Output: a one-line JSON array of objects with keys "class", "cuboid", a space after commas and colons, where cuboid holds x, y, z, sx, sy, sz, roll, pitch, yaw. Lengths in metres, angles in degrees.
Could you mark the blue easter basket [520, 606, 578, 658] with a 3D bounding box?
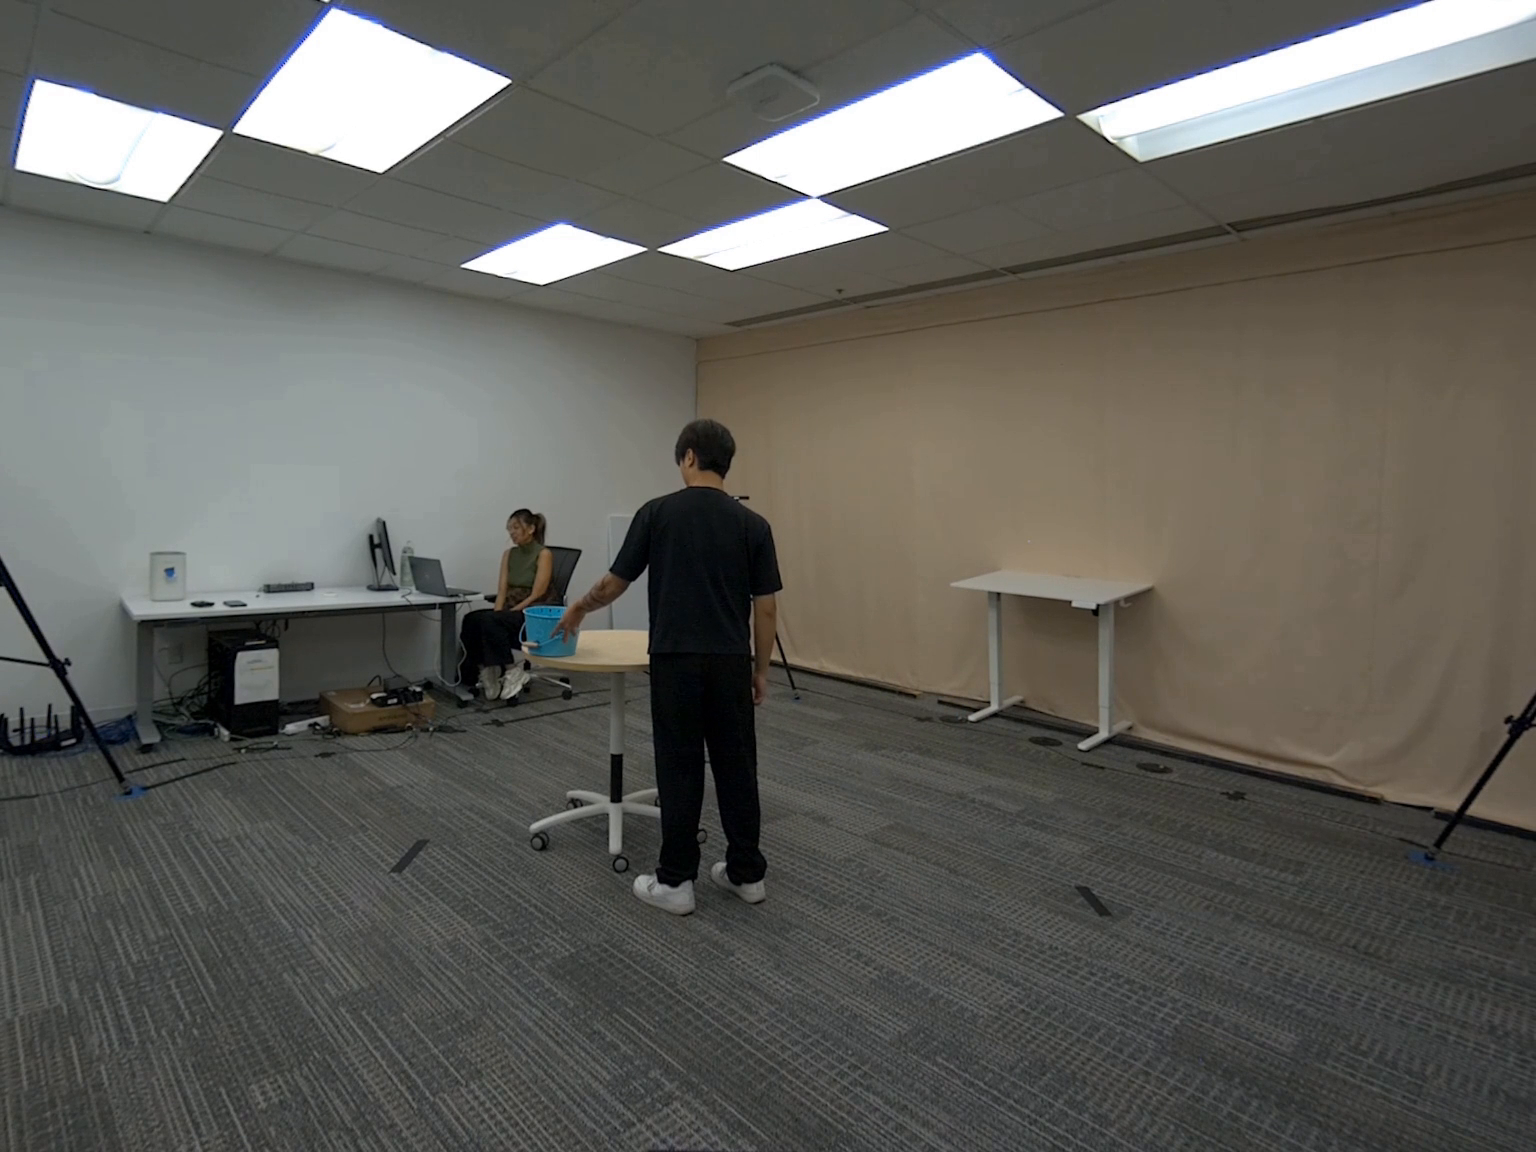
[{"class": "blue easter basket", "cuboid": [-0.853, 0.218, 3.213, 0.243, 0.155, 0.244, 5, 4, -2]}]
